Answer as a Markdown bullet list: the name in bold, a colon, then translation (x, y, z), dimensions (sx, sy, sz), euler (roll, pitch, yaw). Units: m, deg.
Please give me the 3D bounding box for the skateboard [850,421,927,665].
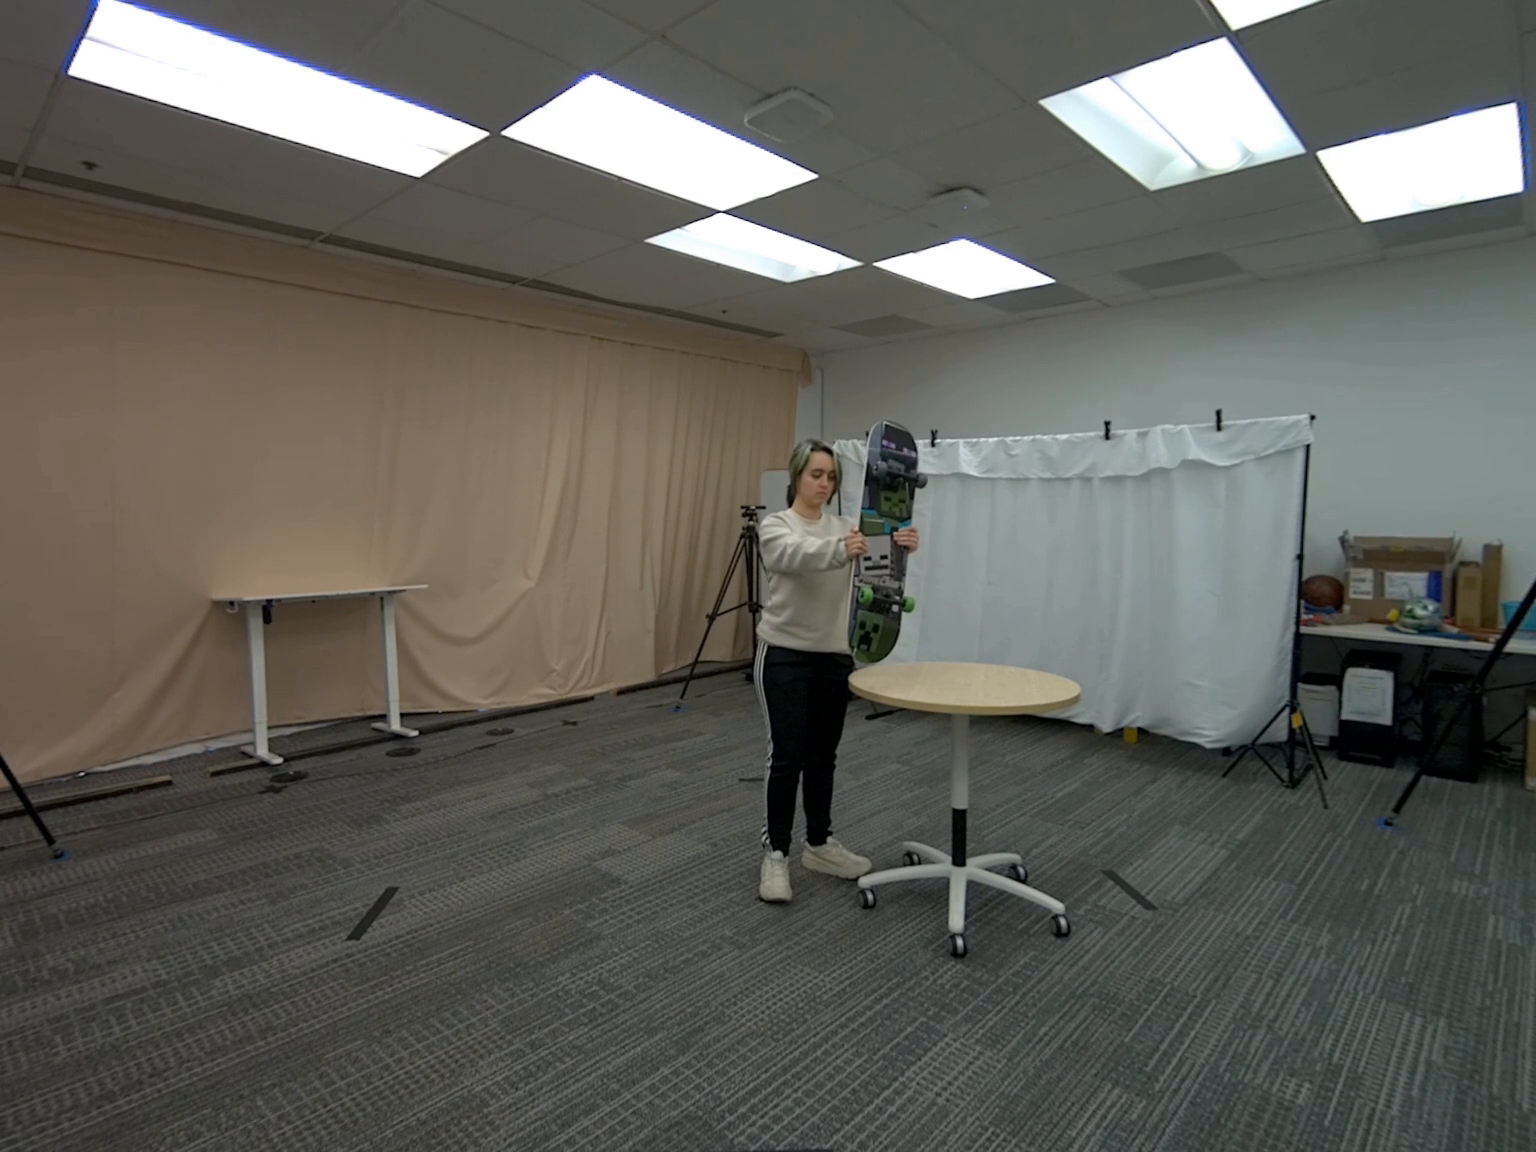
- **skateboard**: translation (0.380, -0.119, 2.637), dimensions (0.189, 0.788, 0.112), euler (10, -9, -20)
